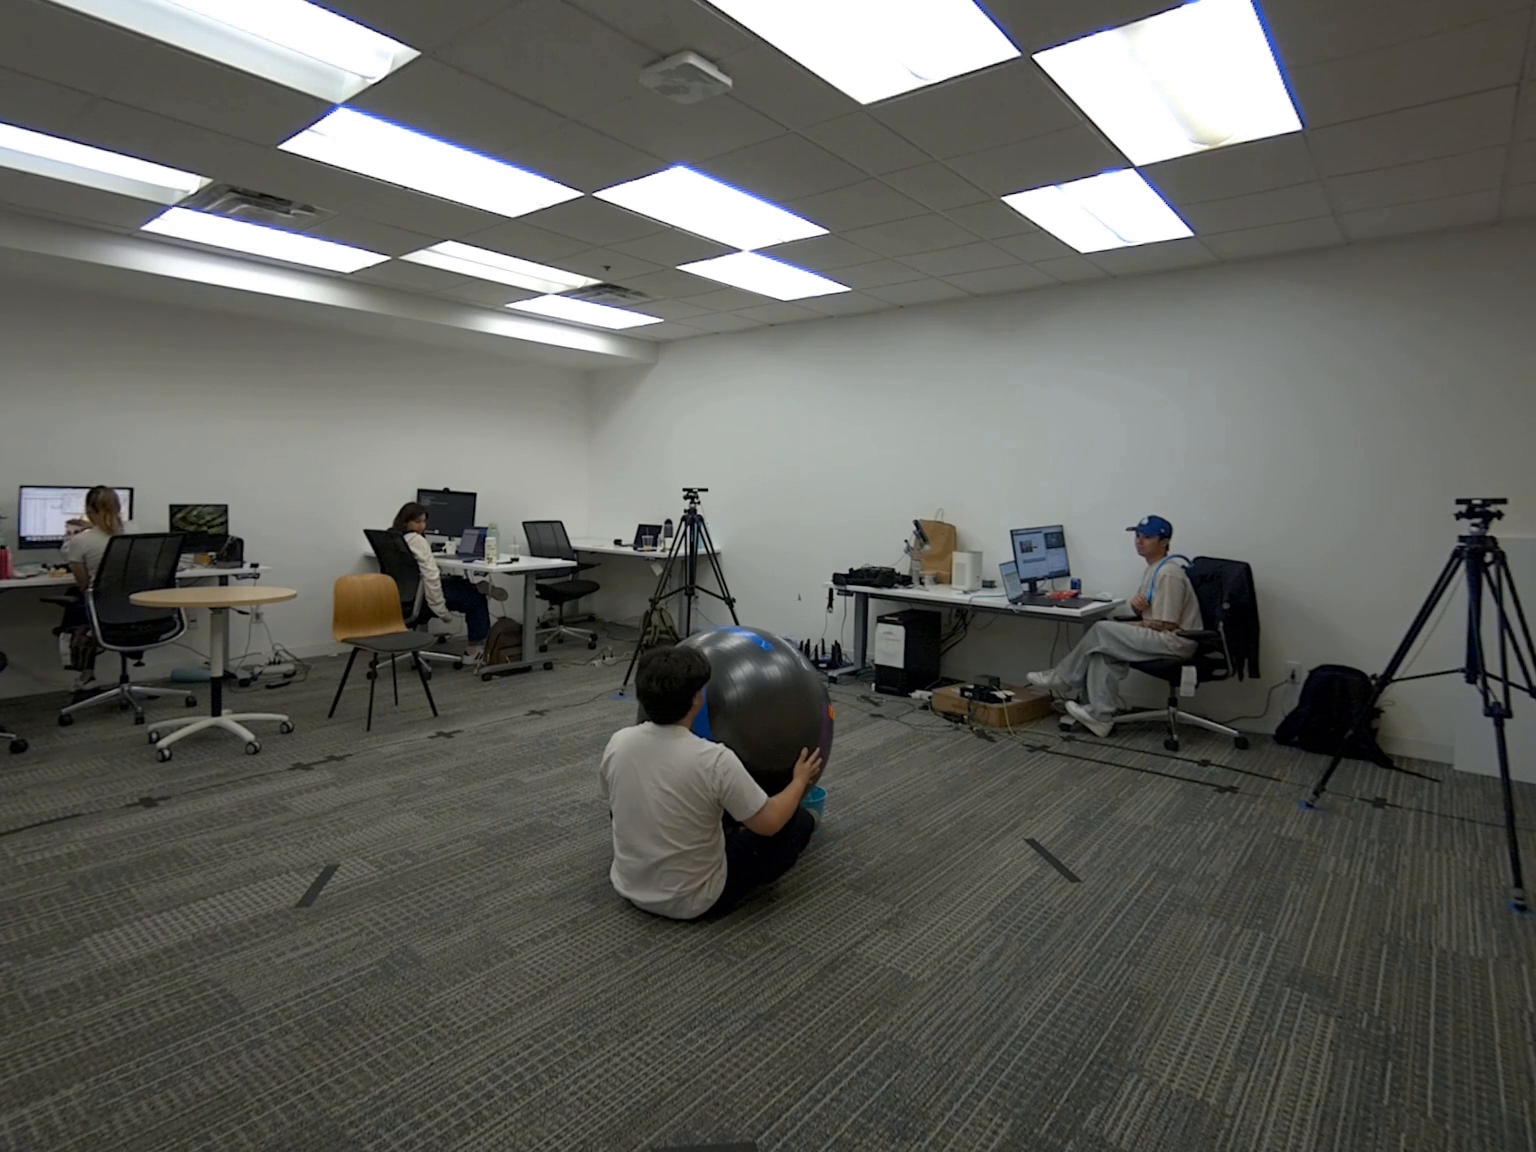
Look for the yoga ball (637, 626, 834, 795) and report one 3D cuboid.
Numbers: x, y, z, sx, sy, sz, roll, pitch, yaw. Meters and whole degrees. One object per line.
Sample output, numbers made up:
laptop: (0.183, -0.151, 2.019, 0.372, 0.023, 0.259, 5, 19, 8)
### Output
yoga ball: (-0.137, 0.561, 3.297, 0.757, 0.755, 0.762, 1, 4, -2)
